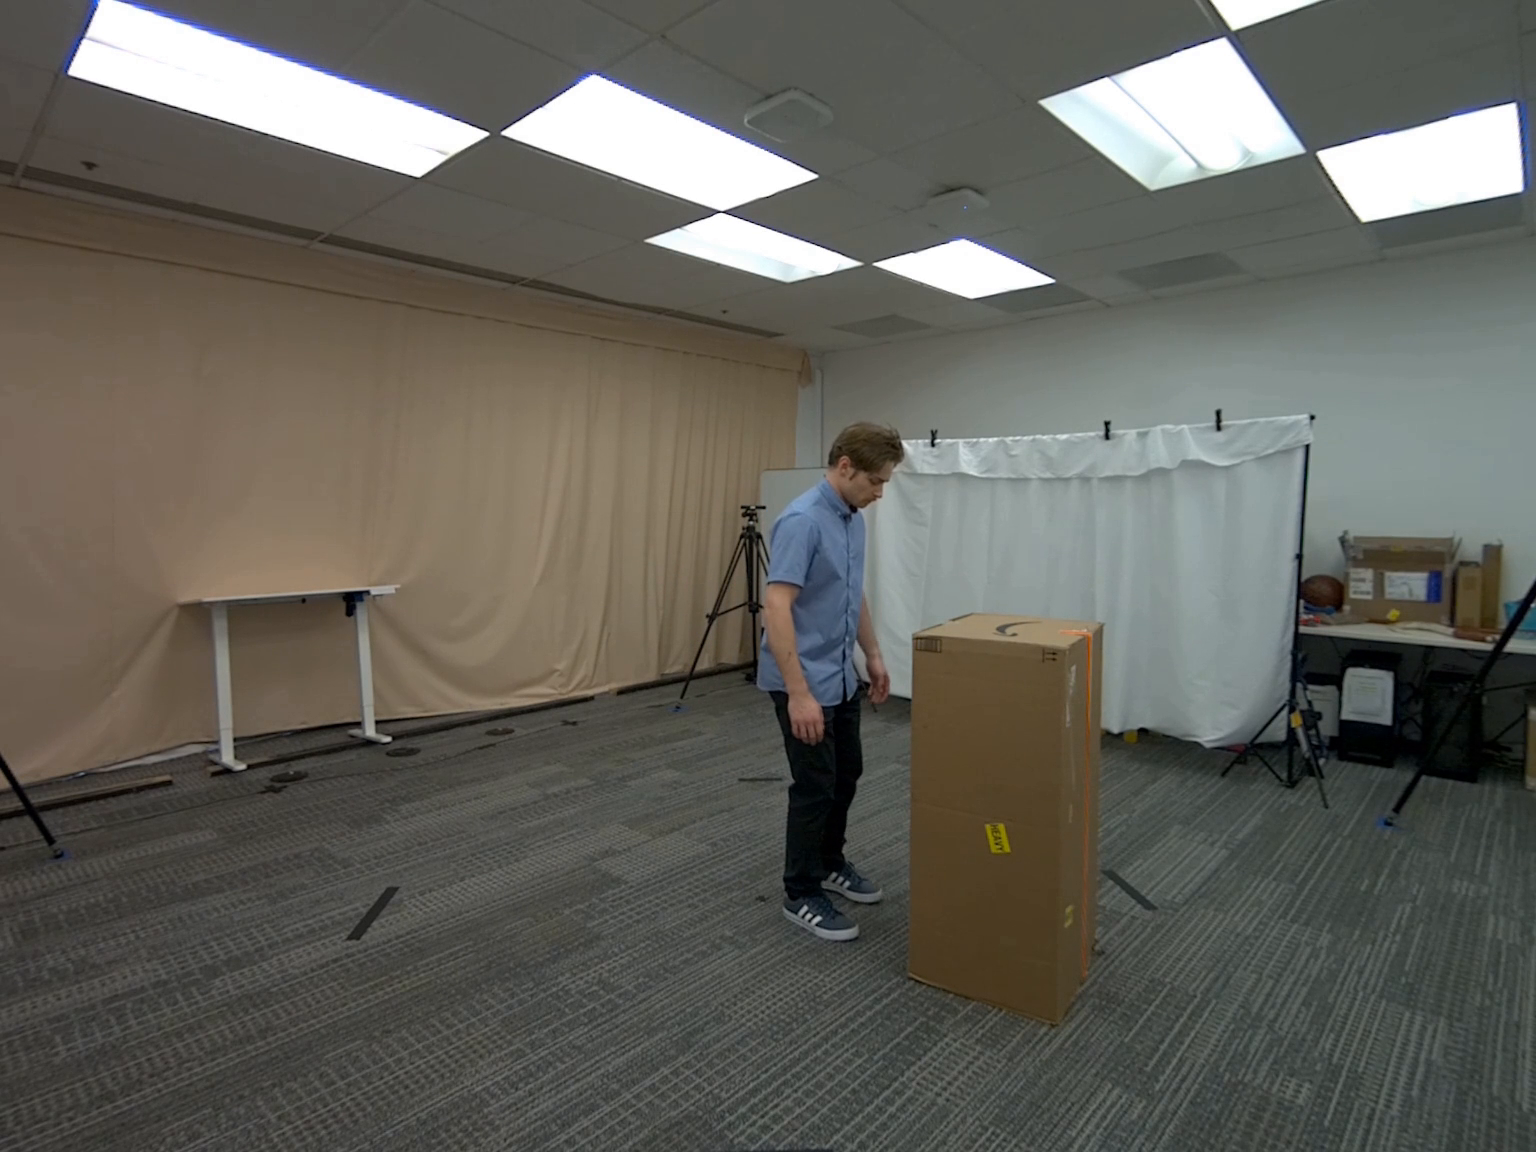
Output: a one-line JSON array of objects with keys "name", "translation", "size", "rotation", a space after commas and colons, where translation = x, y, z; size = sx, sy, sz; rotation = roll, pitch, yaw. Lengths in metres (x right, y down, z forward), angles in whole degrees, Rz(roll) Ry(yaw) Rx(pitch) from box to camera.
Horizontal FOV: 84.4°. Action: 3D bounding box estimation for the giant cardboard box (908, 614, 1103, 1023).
[{"name": "giant cardboard box", "translation": [0.750, 0.668, 2.566], "size": [0.439, 1.024, 0.561], "rotation": [2, 4, 33]}]
